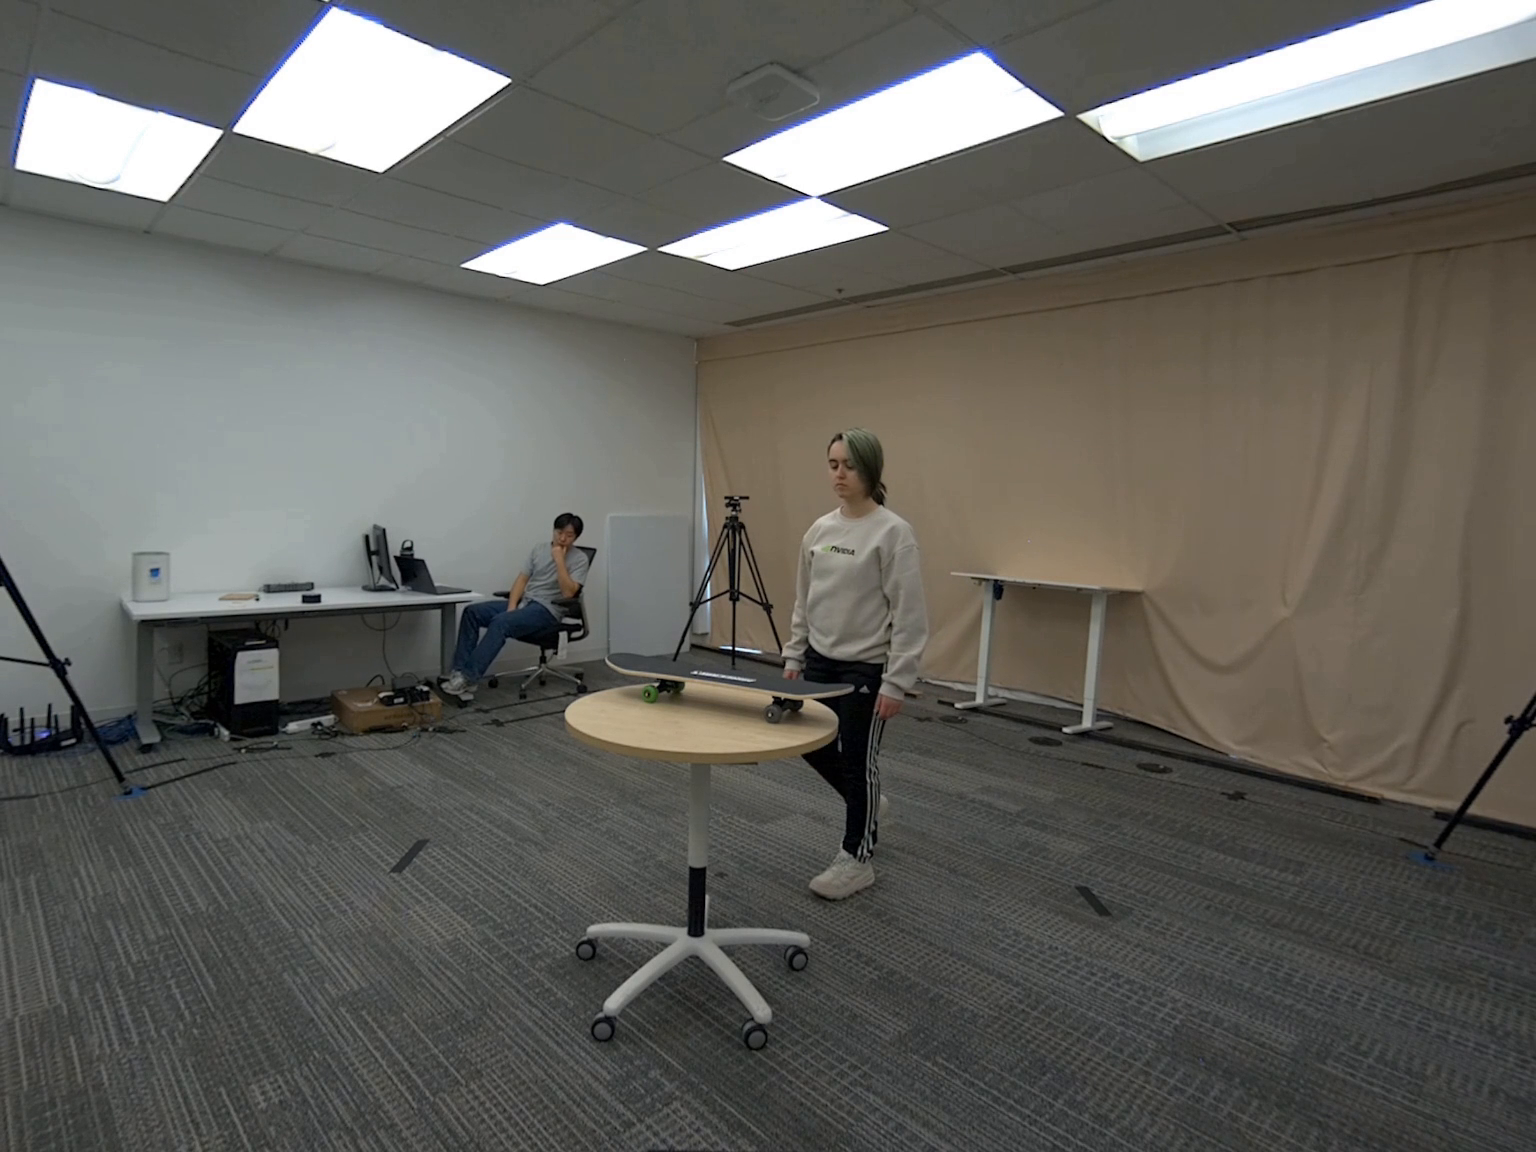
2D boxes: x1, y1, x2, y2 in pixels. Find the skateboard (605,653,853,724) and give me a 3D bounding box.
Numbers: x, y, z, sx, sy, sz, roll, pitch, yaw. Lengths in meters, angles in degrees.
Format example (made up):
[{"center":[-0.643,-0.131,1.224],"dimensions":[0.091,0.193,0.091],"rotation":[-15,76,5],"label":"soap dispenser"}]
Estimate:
[{"center":[-0.142,0.334,2.436],"dimensions":[0.802,0.110,0.190],"rotation":[5,6,27],"label":"skateboard"}]
